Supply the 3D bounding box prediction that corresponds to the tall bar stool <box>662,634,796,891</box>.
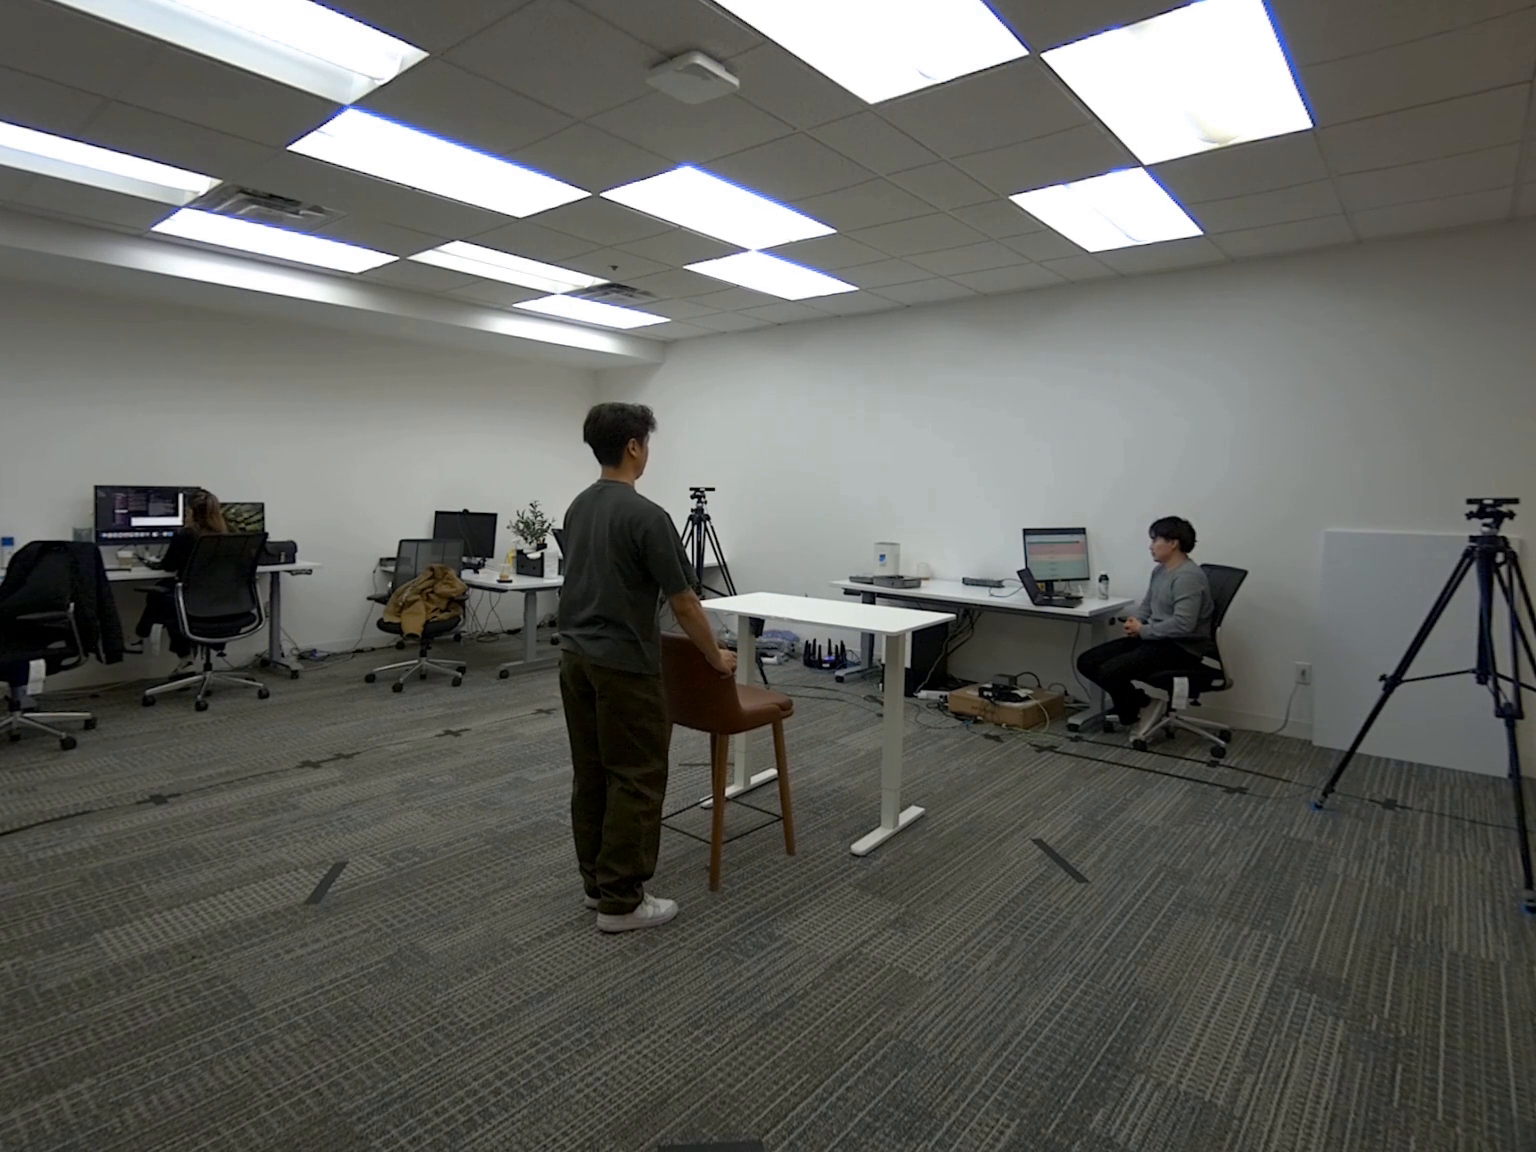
[{"bbox_3d":[-0.201,0.617,3.190,0.472,0.886,0.454,4,6,41],"label":"tall bar stool"}]
